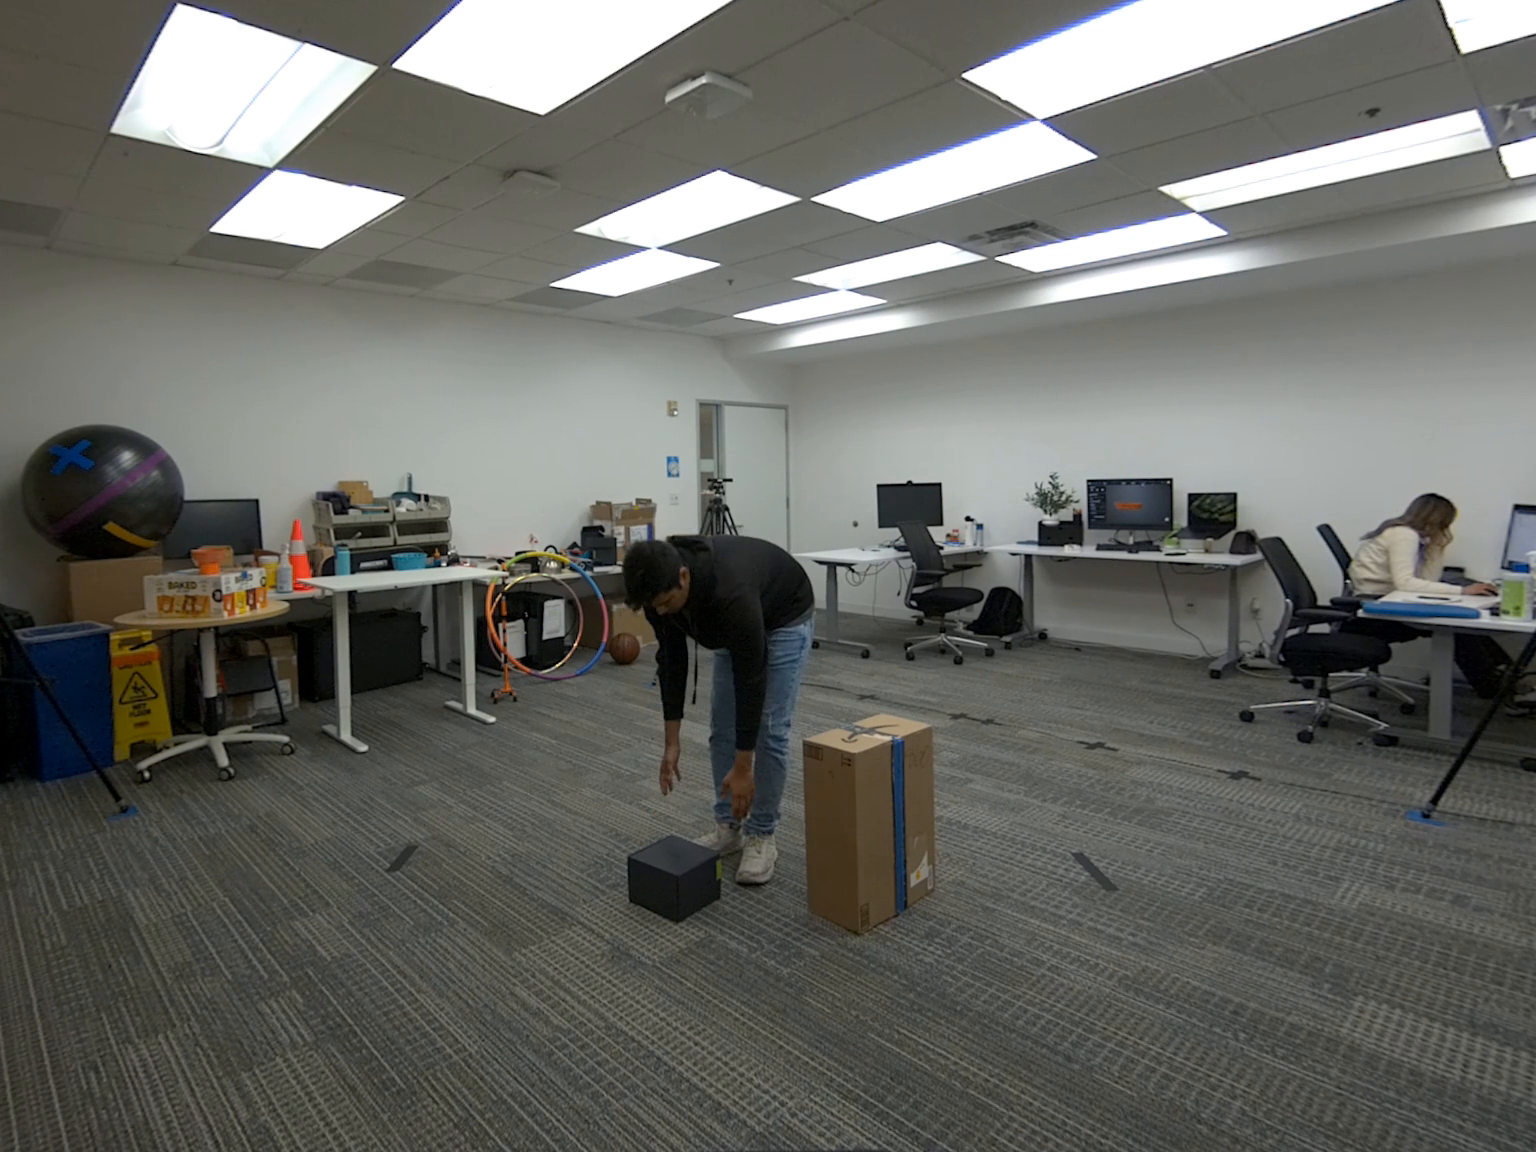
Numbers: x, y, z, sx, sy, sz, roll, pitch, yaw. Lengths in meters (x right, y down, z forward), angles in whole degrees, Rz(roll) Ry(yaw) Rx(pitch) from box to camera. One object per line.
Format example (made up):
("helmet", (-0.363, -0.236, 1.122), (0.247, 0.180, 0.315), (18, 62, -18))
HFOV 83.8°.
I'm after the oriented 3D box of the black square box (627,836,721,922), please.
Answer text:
("black square box", (-0.306, 0.998, 2.839), (0.235, 0.155, 0.211), (4, 7, 39))
